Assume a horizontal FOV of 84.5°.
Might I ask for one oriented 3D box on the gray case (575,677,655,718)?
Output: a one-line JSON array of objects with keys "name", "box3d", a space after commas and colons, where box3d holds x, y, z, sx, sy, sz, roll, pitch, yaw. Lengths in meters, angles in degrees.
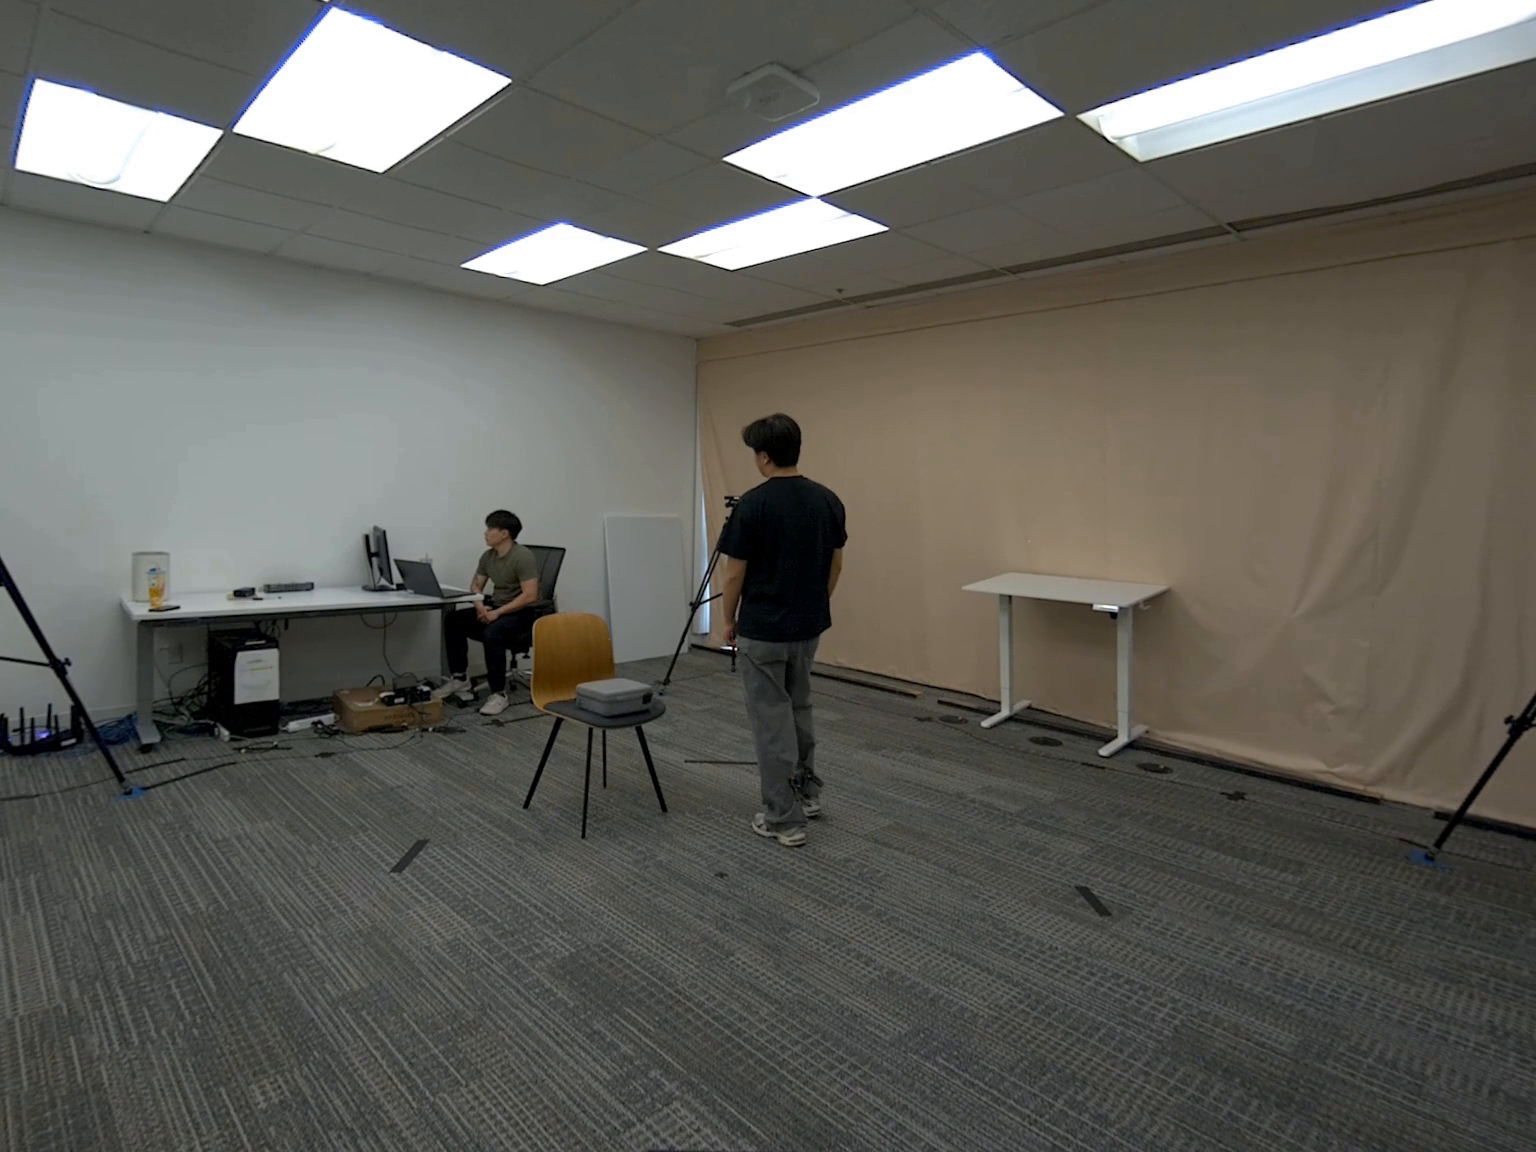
[{"name": "gray case", "box3d": [-0.668, 0.509, 3.596, 0.257, 0.103, 0.294, -4, 5, -43]}]
